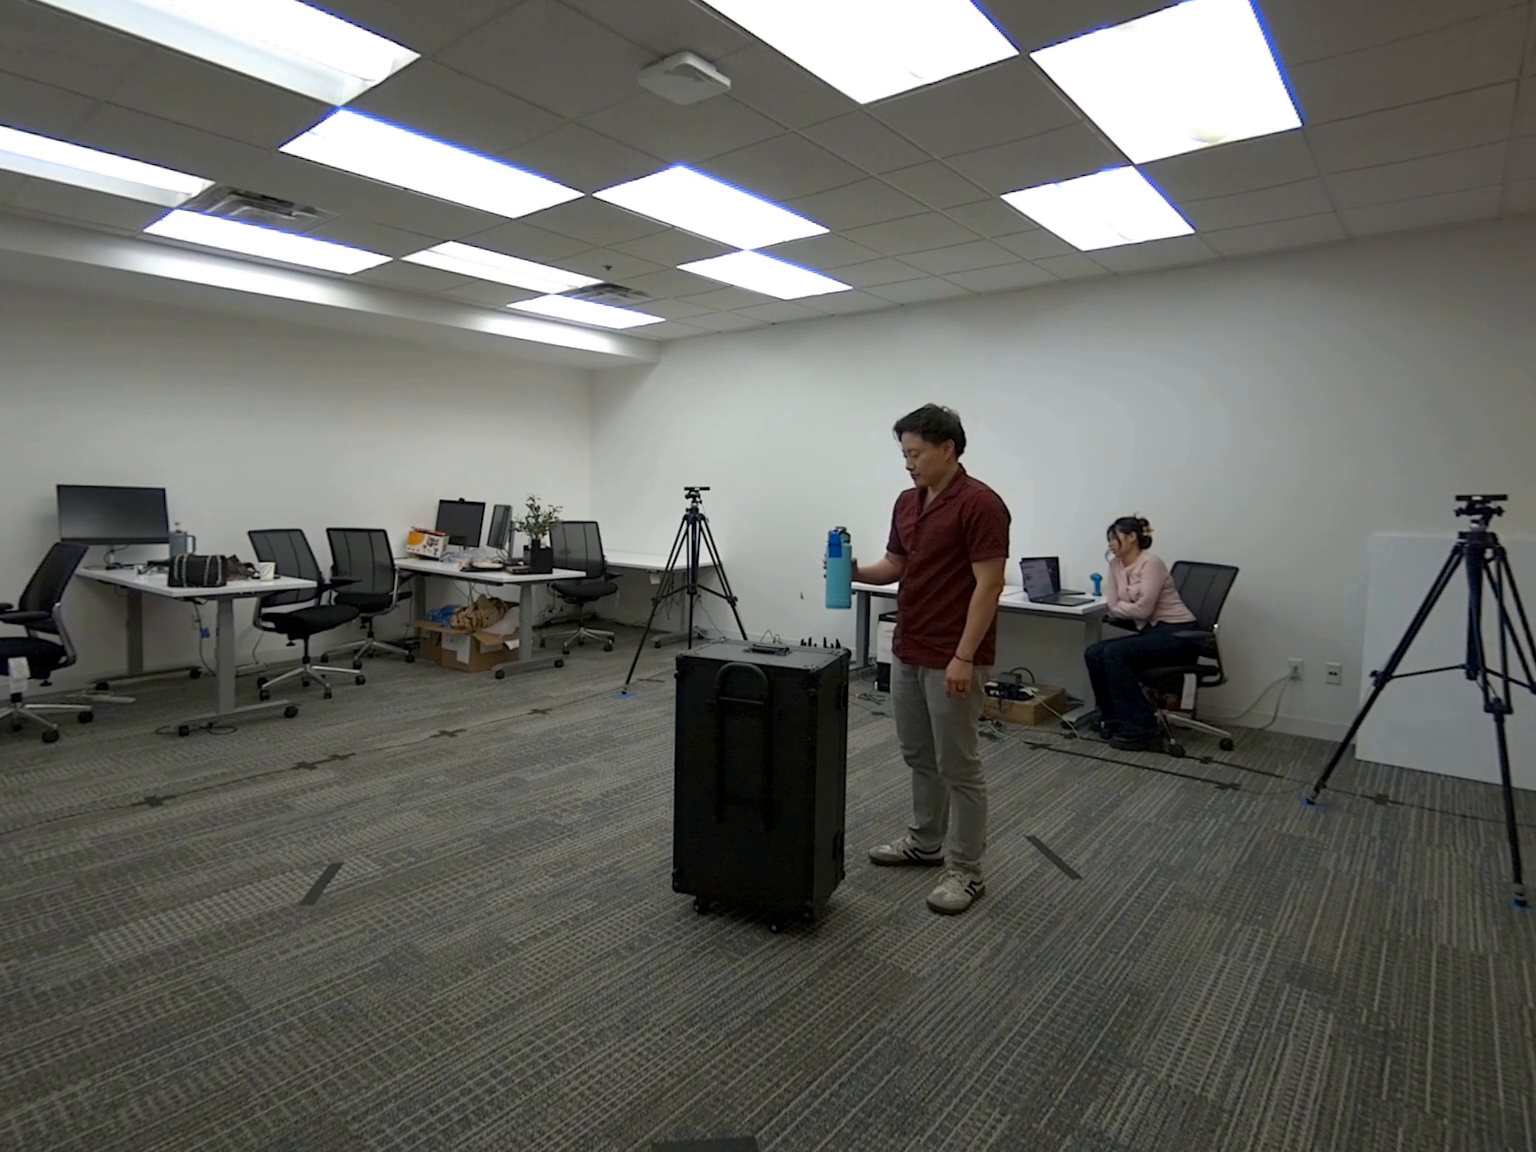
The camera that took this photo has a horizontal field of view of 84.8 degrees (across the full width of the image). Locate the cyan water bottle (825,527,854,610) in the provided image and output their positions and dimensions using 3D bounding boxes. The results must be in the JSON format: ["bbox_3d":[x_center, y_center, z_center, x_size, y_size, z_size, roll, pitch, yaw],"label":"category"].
[{"bbox_3d":[0.244,-0.033,2.948,0.092,0.284,0.092,0,-1,-2],"label":"cyan water bottle"}]
